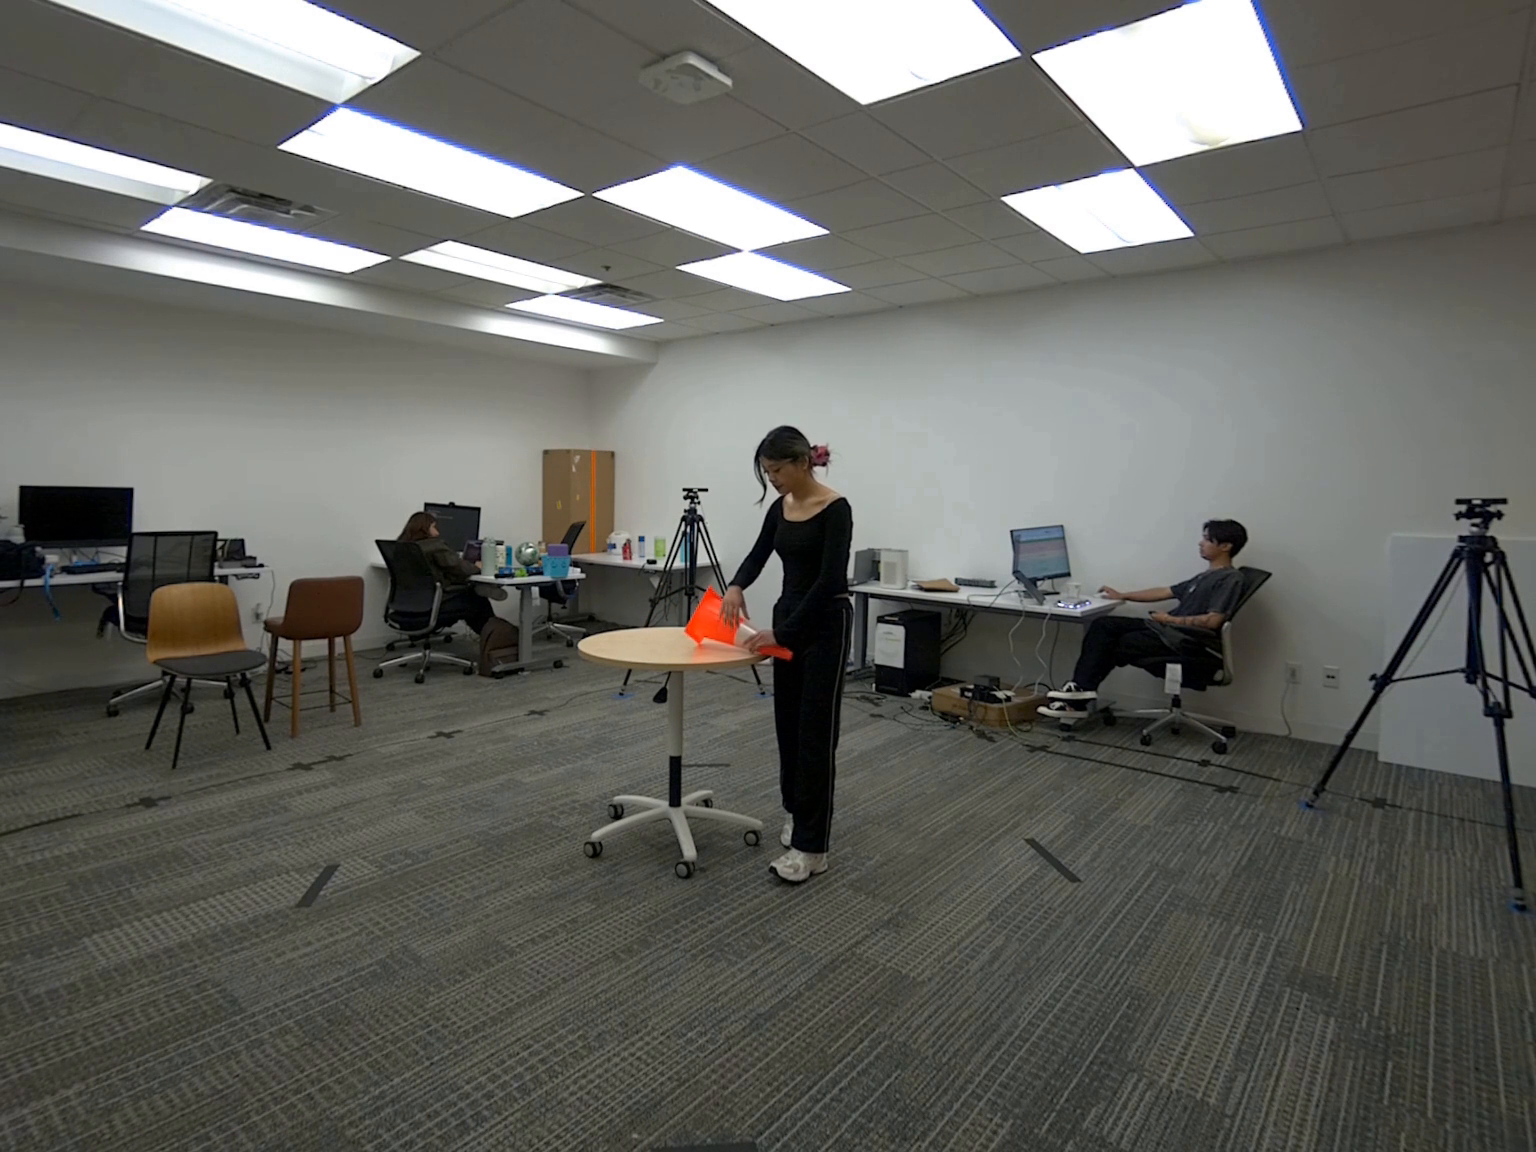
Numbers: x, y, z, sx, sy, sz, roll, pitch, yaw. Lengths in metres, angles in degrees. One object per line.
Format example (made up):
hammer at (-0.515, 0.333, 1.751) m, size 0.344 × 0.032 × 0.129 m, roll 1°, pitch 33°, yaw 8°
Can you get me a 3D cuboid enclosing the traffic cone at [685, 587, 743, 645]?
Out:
traffic cone at (-0.093, 0.218, 3.184) m, size 0.395 × 0.206 × 0.196 m, roll 22°, pitch -13°, yaw 23°
